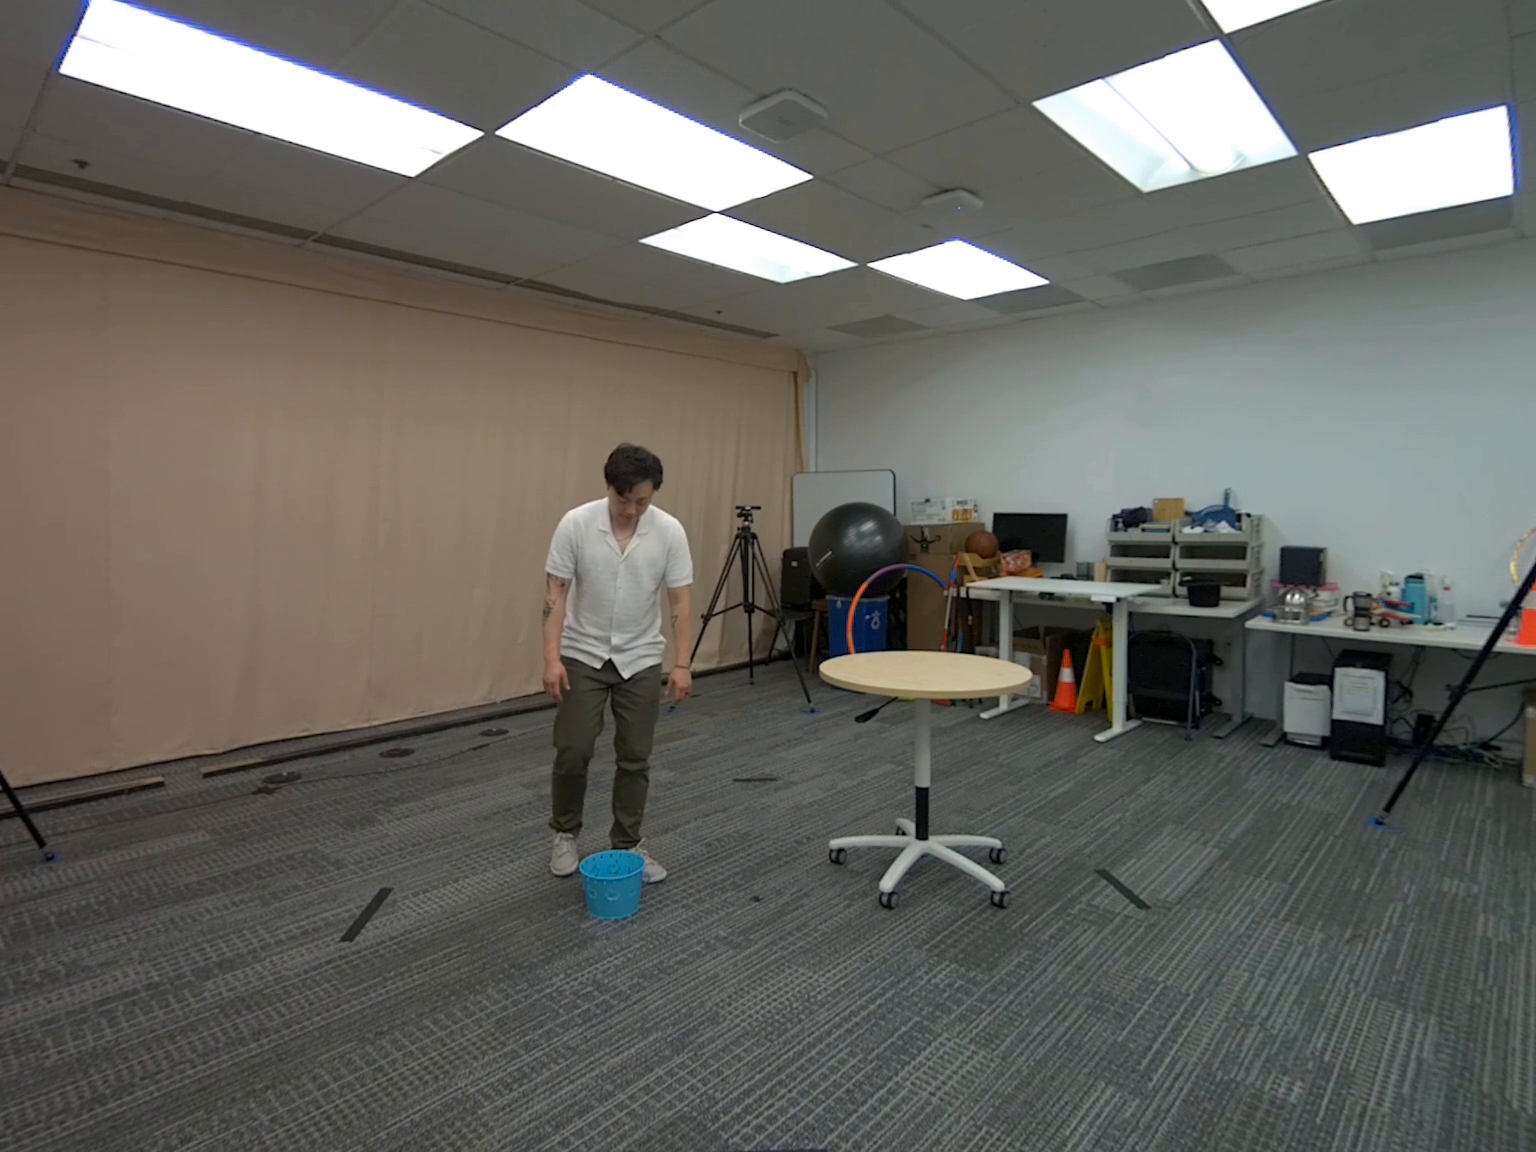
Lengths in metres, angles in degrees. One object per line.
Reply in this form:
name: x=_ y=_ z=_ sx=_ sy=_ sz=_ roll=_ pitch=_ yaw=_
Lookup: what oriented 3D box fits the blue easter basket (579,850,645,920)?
blue easter basket: x=-0.532 y=1.076 z=2.925 sx=0.243 sy=0.155 sz=0.244 roll=0 pitch=5 yaw=-2
